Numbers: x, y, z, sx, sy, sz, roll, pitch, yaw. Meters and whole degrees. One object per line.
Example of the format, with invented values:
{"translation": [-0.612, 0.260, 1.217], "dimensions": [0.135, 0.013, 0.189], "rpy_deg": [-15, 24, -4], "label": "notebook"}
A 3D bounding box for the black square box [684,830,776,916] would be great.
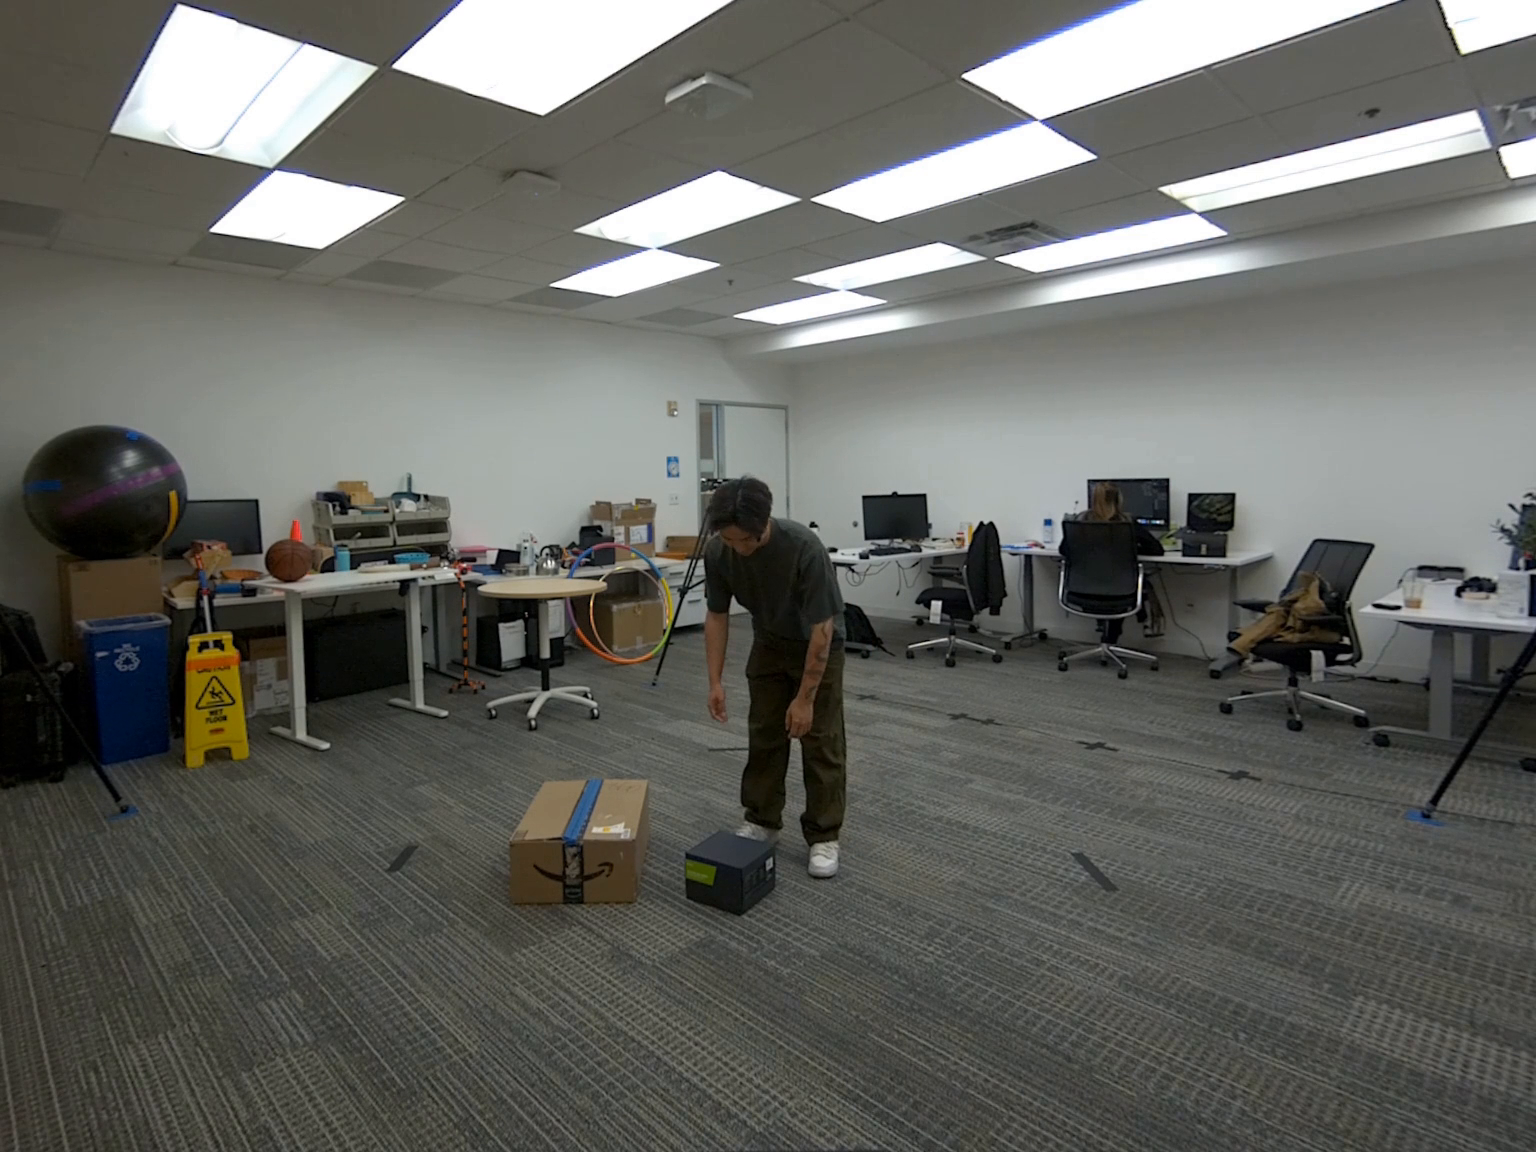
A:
{"translation": [-0.123, 0.985, 2.881], "dimensions": [0.234, 0.155, 0.212], "rpy_deg": [3, 7, 32], "label": "black square box"}
